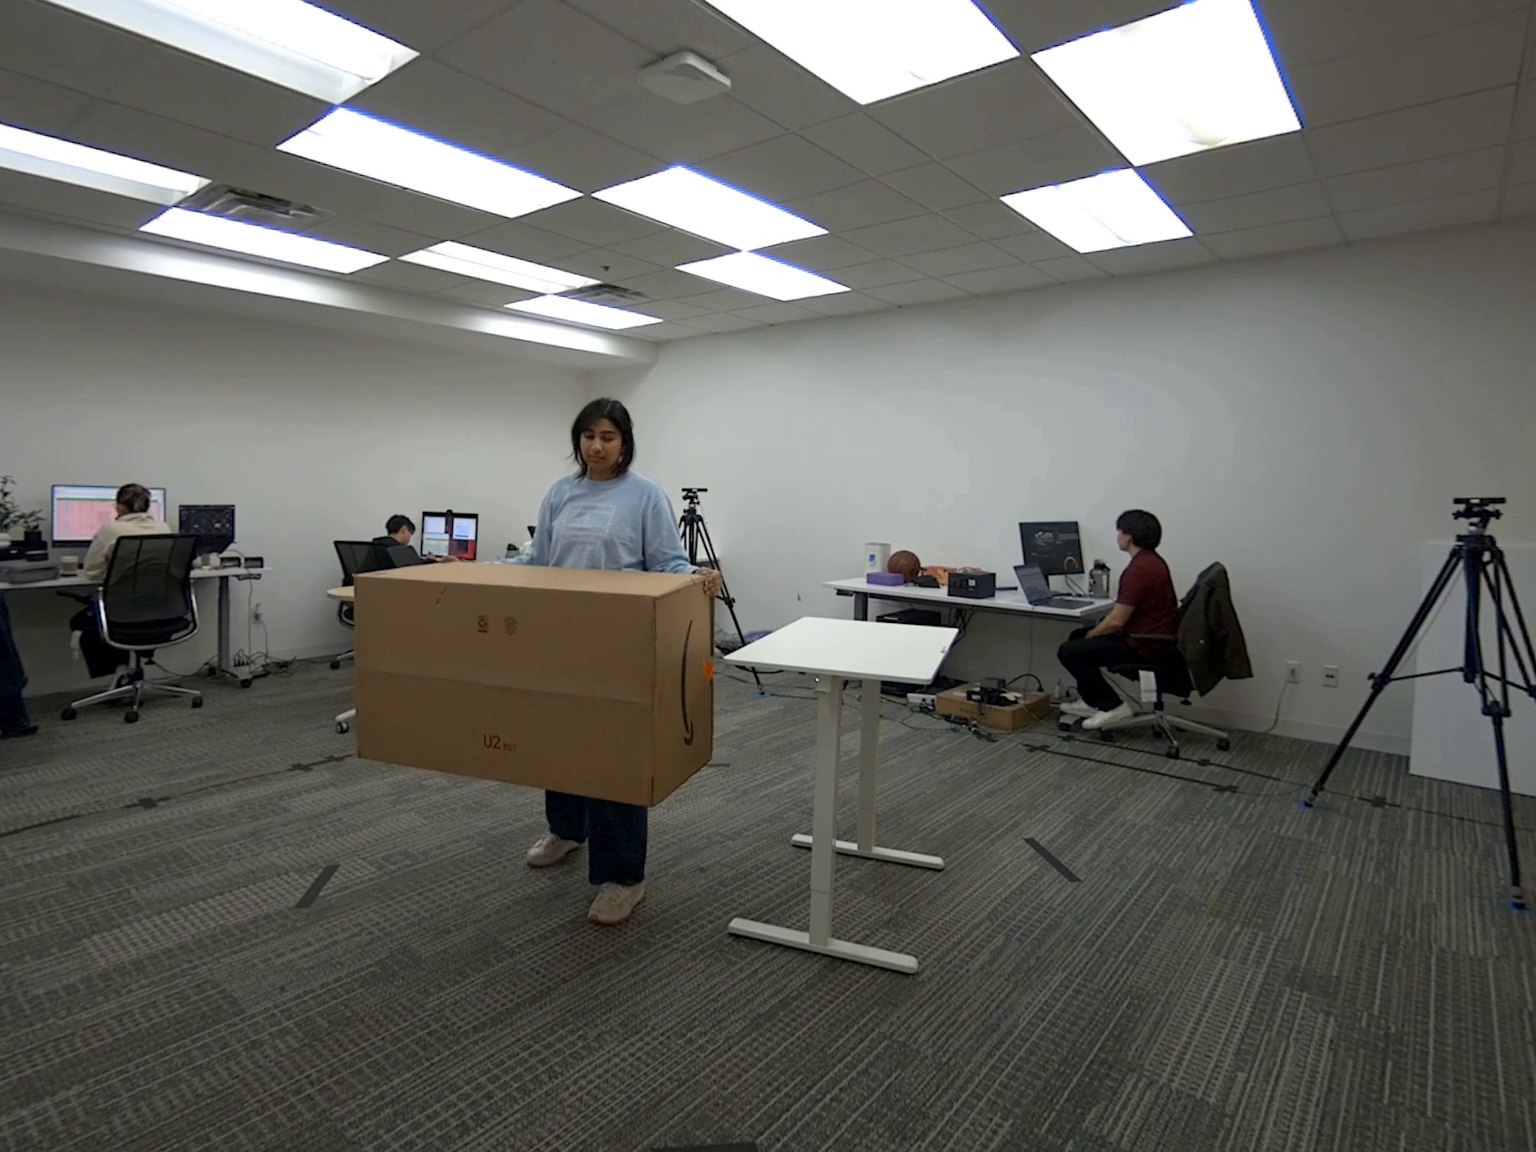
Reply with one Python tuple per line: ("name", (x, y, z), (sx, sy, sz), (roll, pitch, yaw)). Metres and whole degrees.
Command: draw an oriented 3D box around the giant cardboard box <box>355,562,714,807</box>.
("giant cardboard box", (-0.730, 0.280, 2.618), (1.048, 0.575, 0.419), (3, 5, 20))
